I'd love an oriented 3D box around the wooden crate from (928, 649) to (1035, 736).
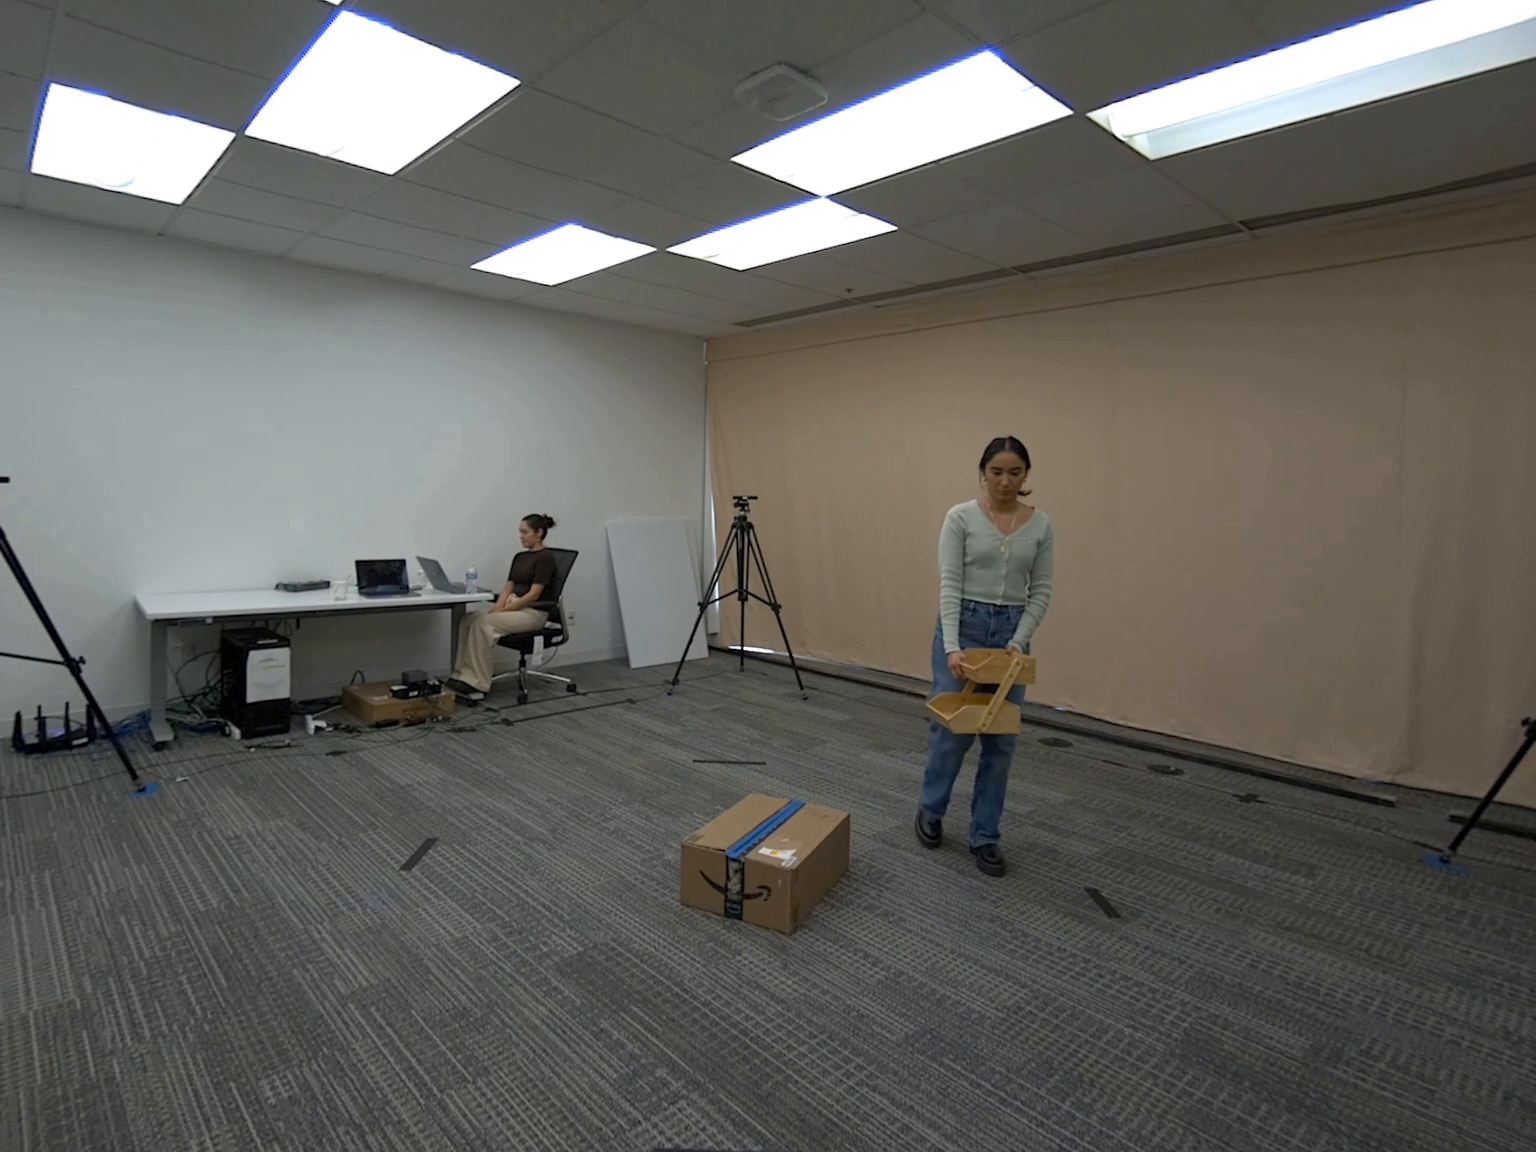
[{"bbox_3d":[0.712,0.397,3.027,0.302,0.273,0.325,2,1,-2],"label":"wooden crate"}]
